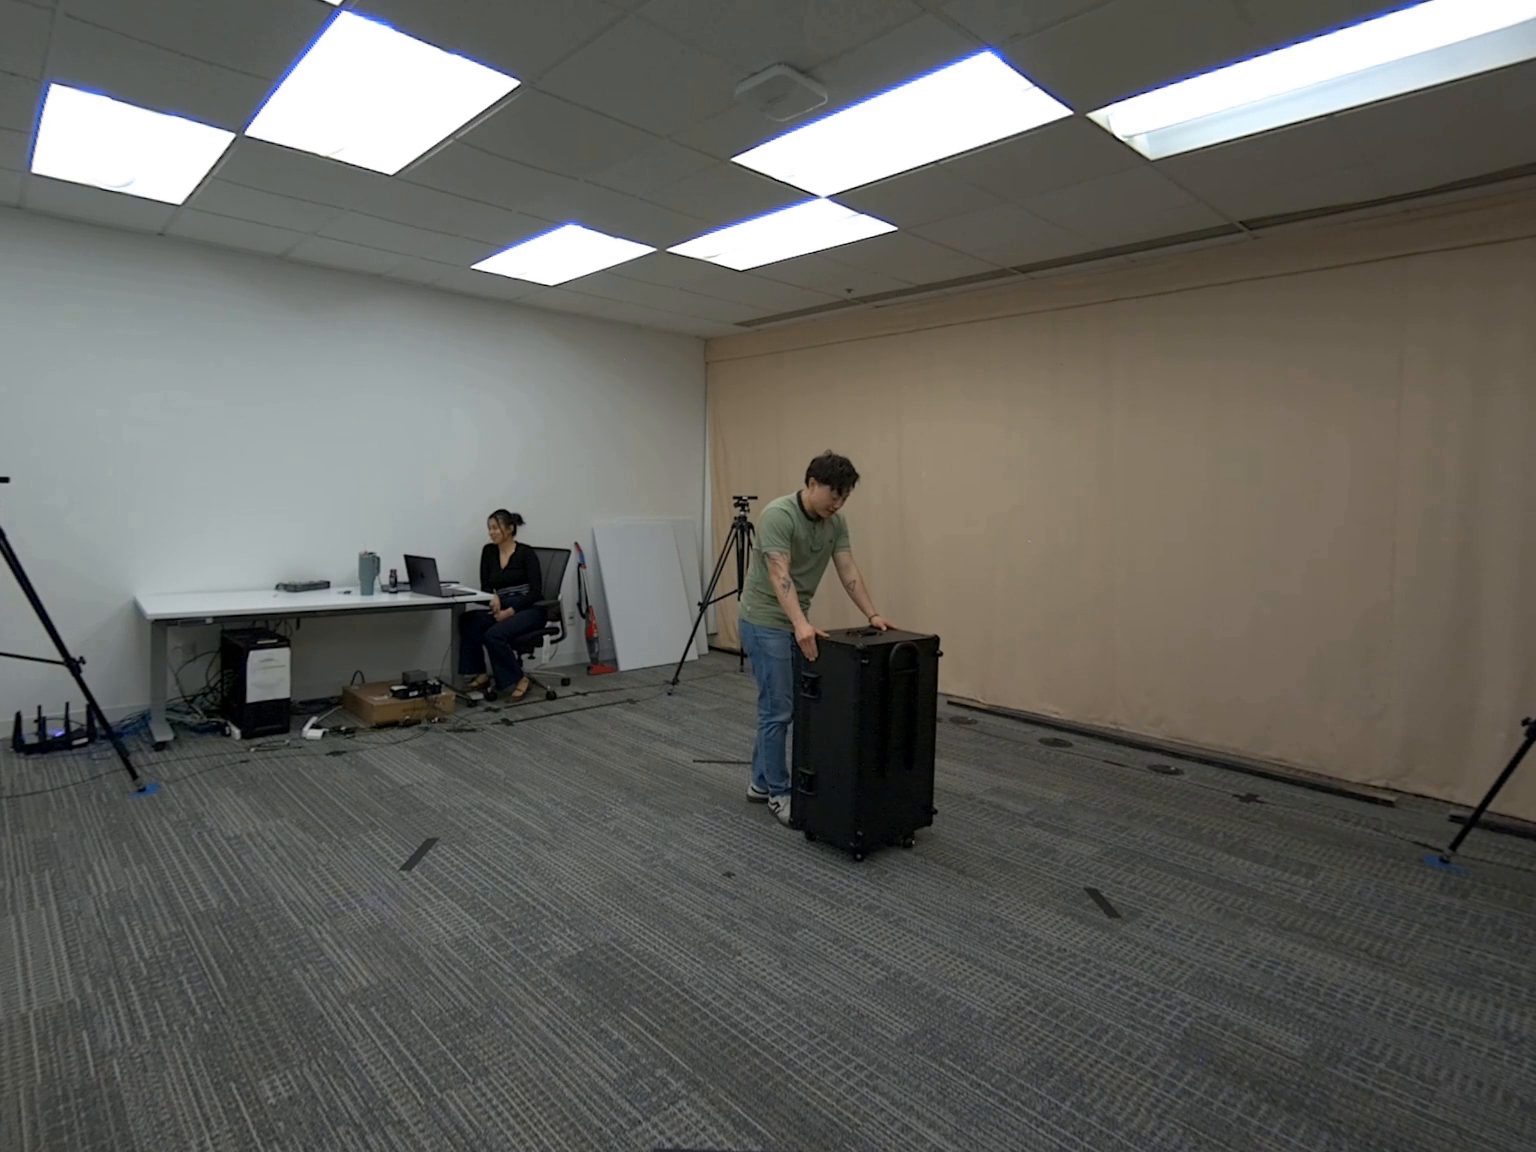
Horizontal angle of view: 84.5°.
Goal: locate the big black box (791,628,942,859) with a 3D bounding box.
[{"bbox_3d":[0.405,0.666,3.414,0.509,0.859,0.406,-1,5,-40],"label":"big black box"}]
